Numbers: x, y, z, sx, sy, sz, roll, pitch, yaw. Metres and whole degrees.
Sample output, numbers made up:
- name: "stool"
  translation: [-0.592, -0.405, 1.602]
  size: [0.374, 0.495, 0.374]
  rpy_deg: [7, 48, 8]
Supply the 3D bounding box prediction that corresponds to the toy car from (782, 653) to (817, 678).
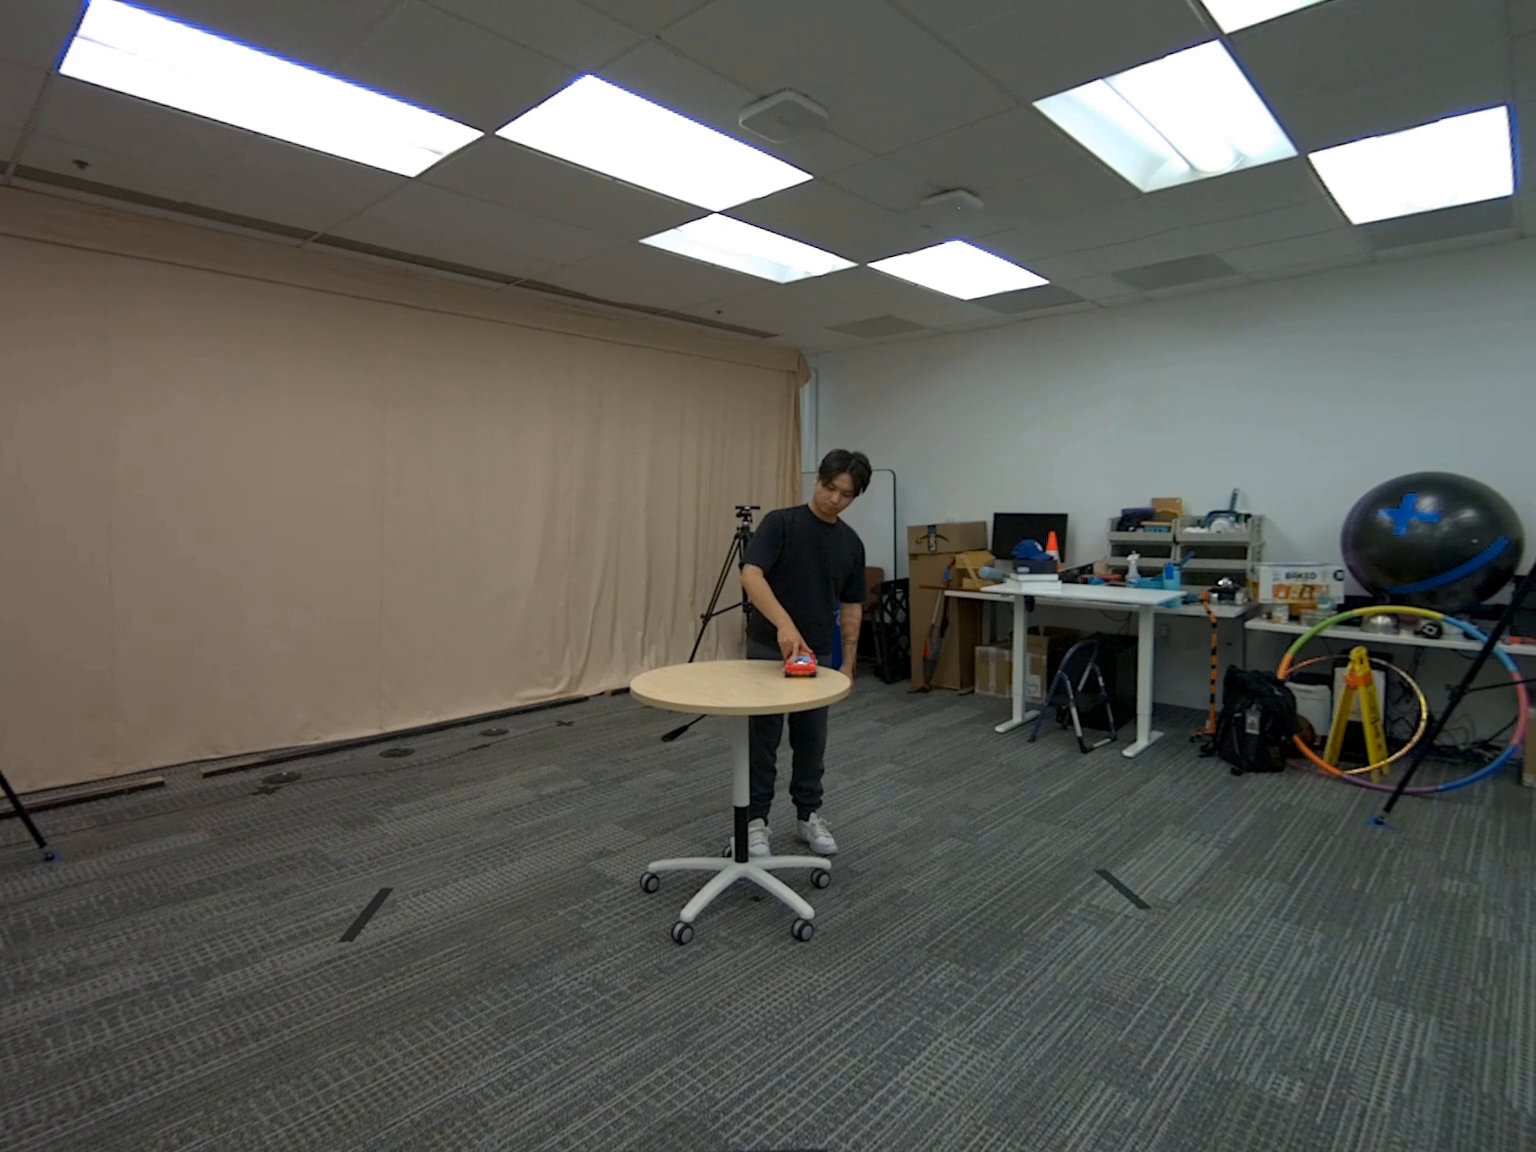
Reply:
- name: "toy car"
  translation: [0.114, 0.314, 3.074]
  size: [0.131, 0.082, 0.256]
  rpy_deg: [-2, 17, 1]
